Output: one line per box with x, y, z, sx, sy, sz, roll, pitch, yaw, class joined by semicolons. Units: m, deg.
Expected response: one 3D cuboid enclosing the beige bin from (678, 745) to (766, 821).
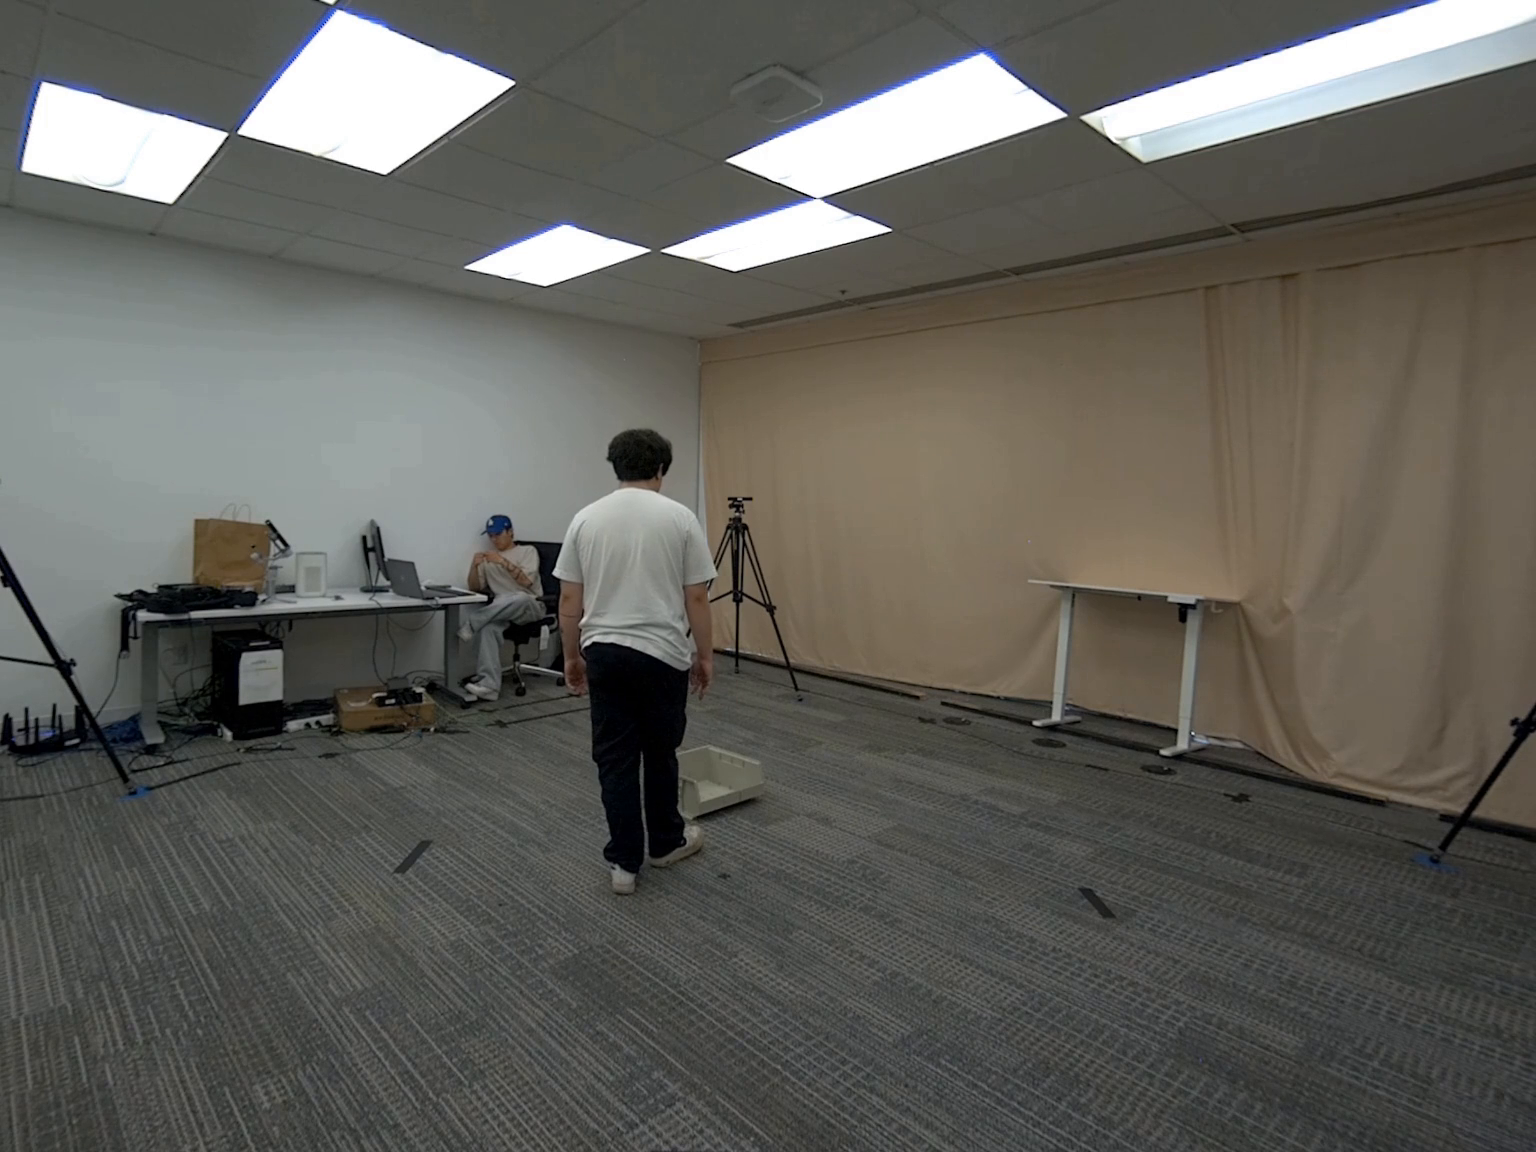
-0.306;0.950;3.883;0.387;0.188;0.413;5;6;42;beige bin
